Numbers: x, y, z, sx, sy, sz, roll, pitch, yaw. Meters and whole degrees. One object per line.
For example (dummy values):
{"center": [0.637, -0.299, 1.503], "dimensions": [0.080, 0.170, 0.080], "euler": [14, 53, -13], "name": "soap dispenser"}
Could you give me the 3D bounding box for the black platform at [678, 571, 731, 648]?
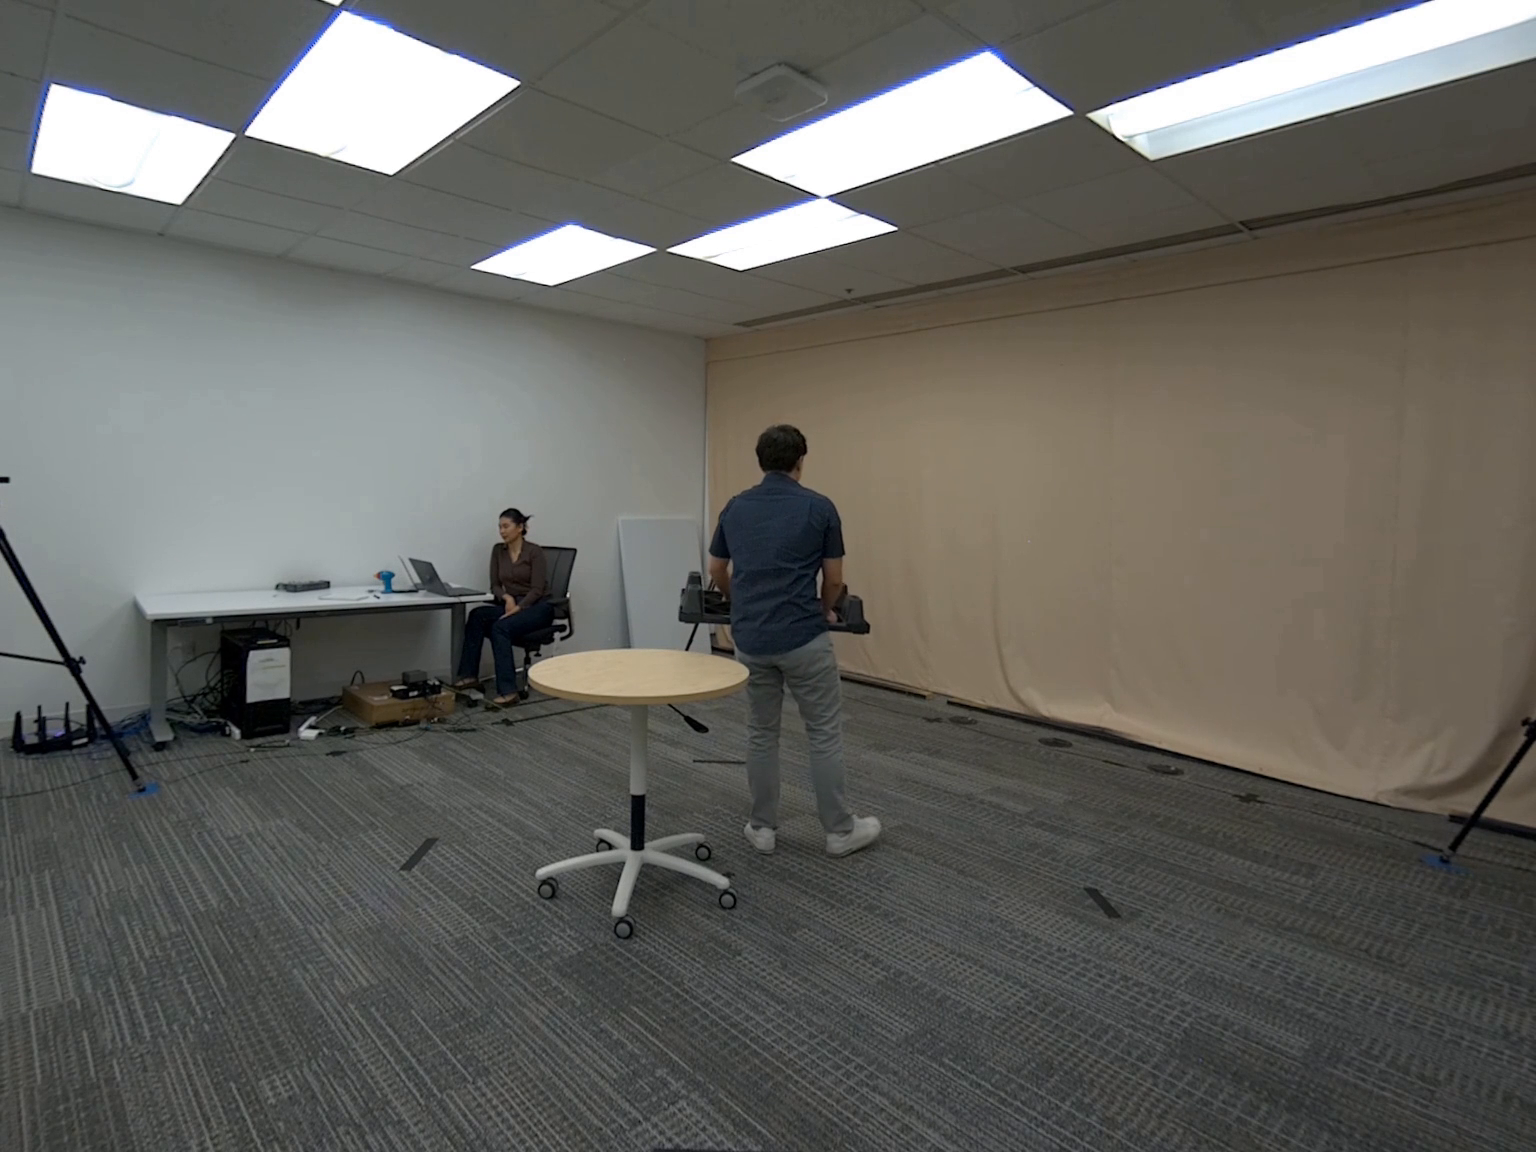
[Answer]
{"center": [0.006, 0.110, 3.765], "dimensions": [0.803, 0.142, 0.610], "euler": [4, 9, -3], "name": "black platform"}
